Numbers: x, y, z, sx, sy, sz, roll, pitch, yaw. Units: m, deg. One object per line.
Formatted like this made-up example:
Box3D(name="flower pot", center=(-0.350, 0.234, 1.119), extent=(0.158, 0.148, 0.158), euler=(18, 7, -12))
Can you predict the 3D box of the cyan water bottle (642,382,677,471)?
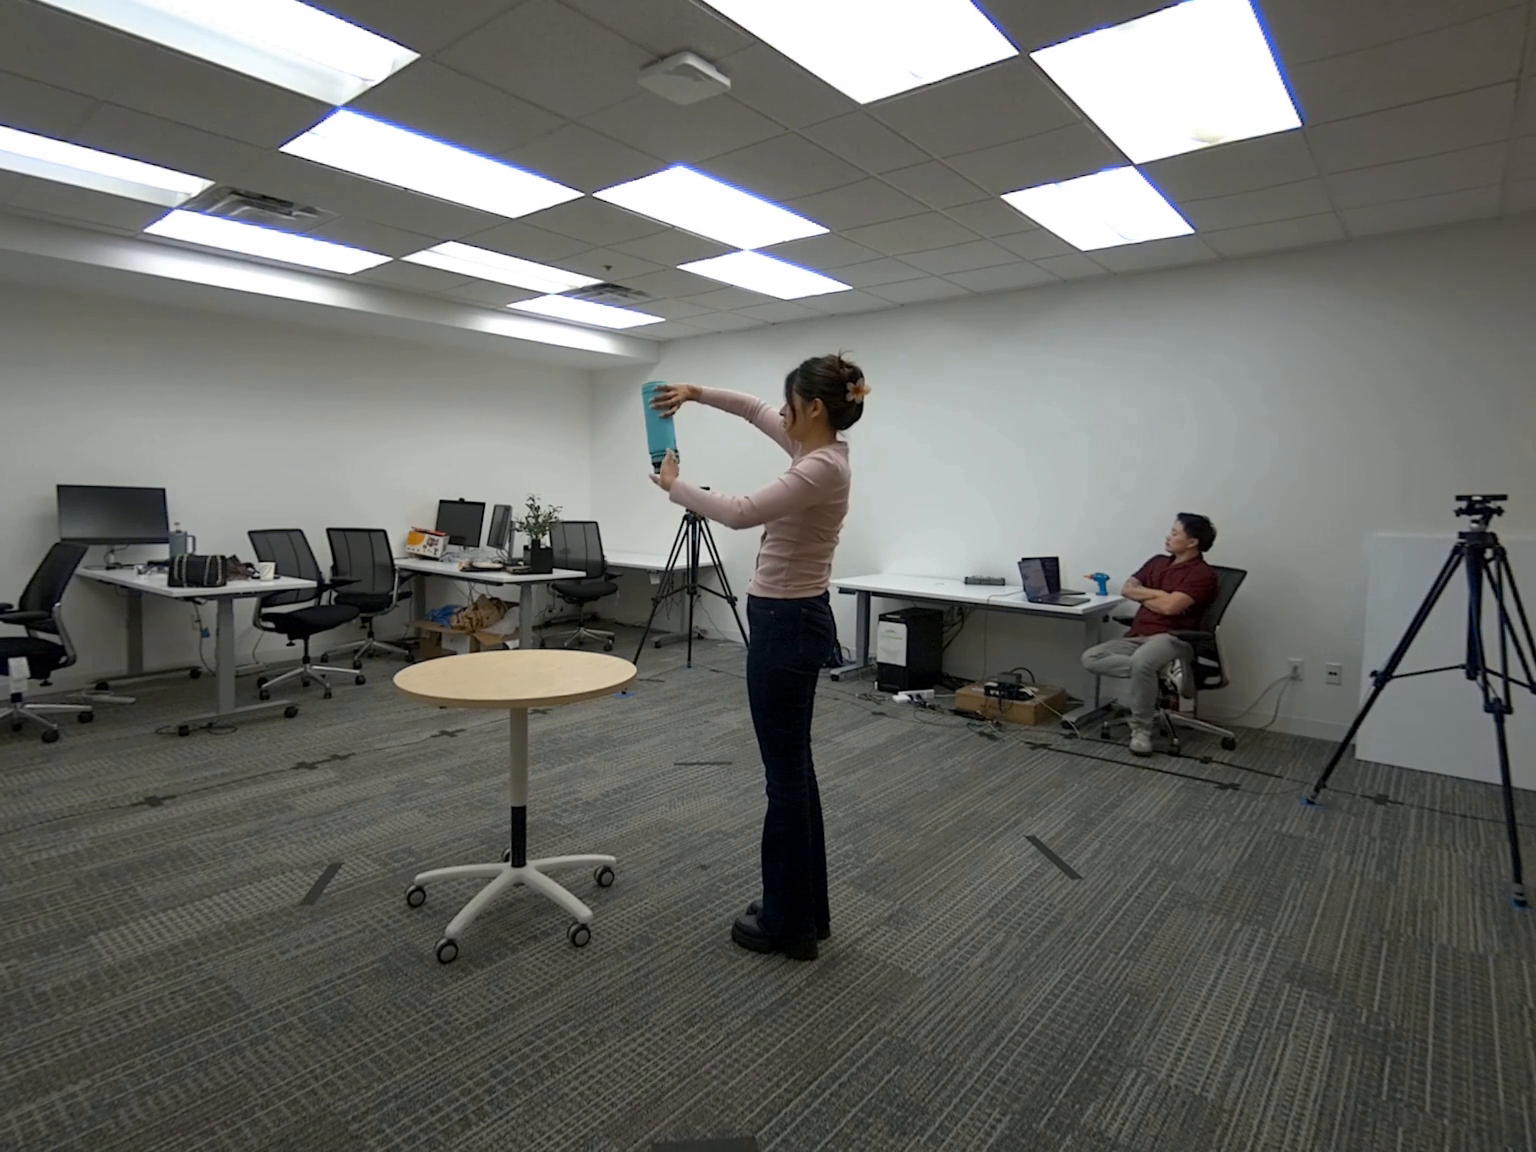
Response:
Box3D(name="cyan water bottle", center=(-0.340, -0.458, 2.662), extent=(0.092, 0.285, 0.092), euler=(-5, -5, -2))
